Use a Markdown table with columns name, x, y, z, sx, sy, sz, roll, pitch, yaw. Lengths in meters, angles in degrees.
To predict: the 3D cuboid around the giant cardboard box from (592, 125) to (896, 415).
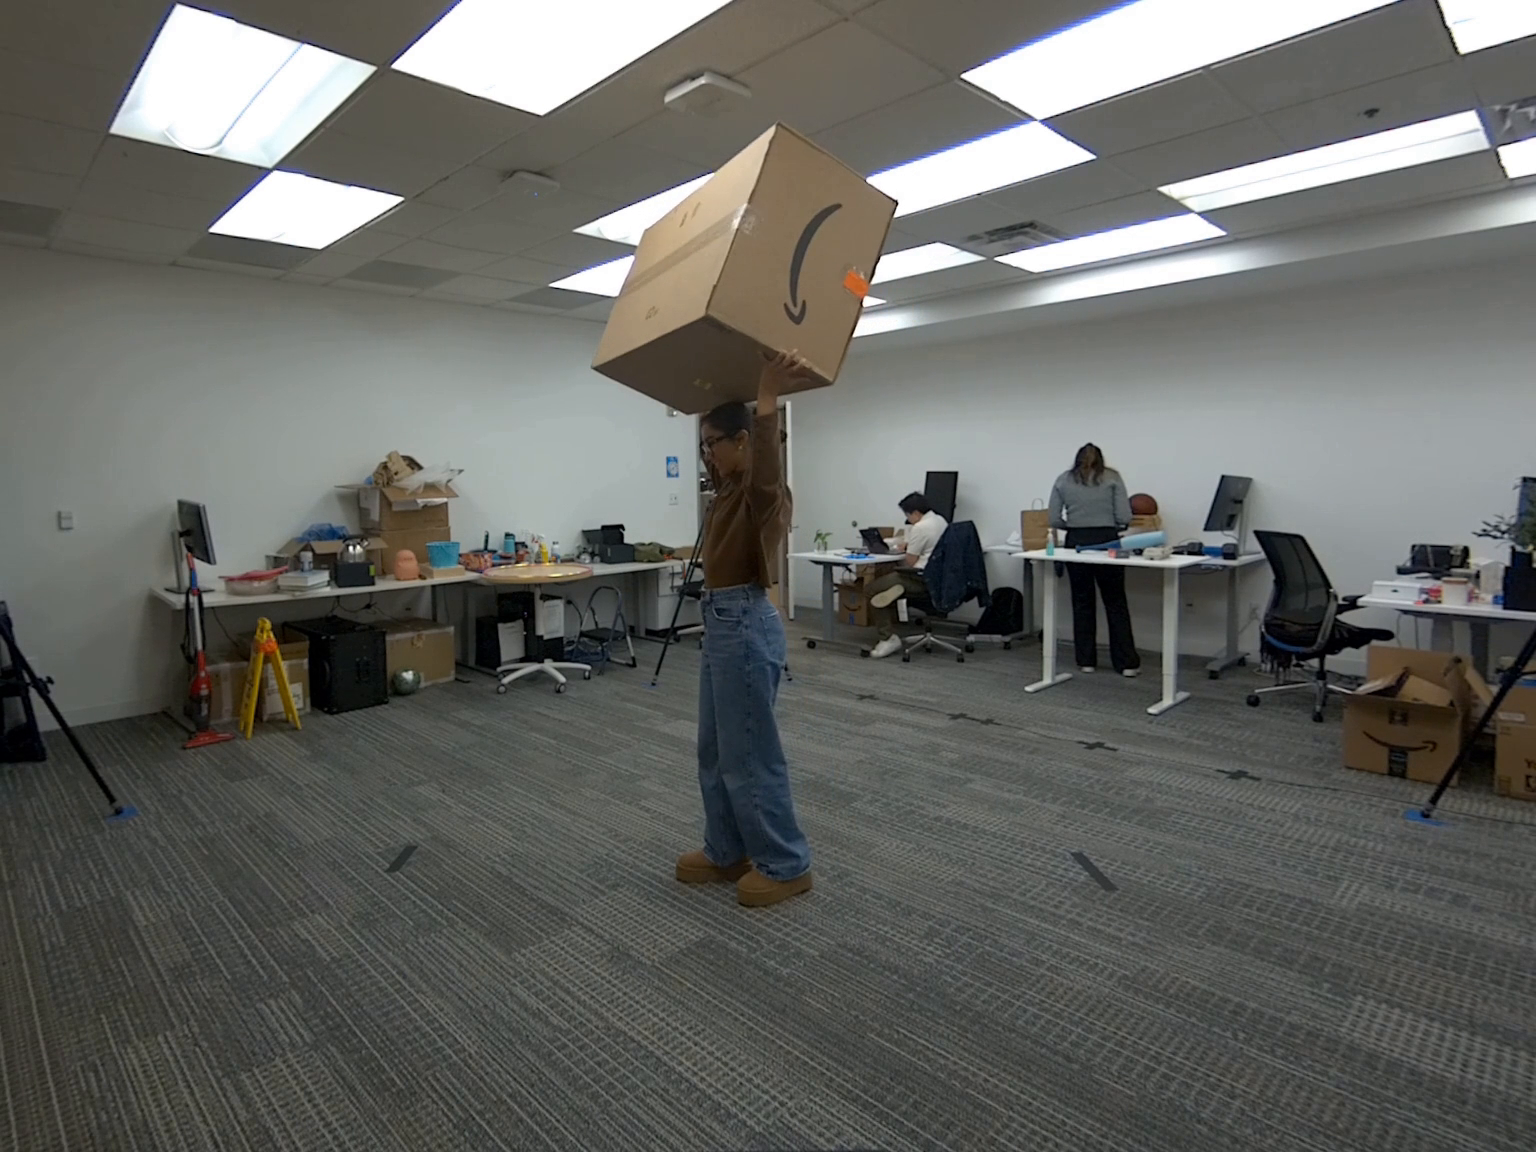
| name | x | y | z | sx | sy | sz | roll | pitch | yaw |
| --- | --- | --- | --- | --- | --- | --- | --- | --- | --- |
| giant cardboard box | -0.131 | -0.905 | 2.769 | 0.414 | 0.579 | 1.053 | 24 | -7 | -27 |
